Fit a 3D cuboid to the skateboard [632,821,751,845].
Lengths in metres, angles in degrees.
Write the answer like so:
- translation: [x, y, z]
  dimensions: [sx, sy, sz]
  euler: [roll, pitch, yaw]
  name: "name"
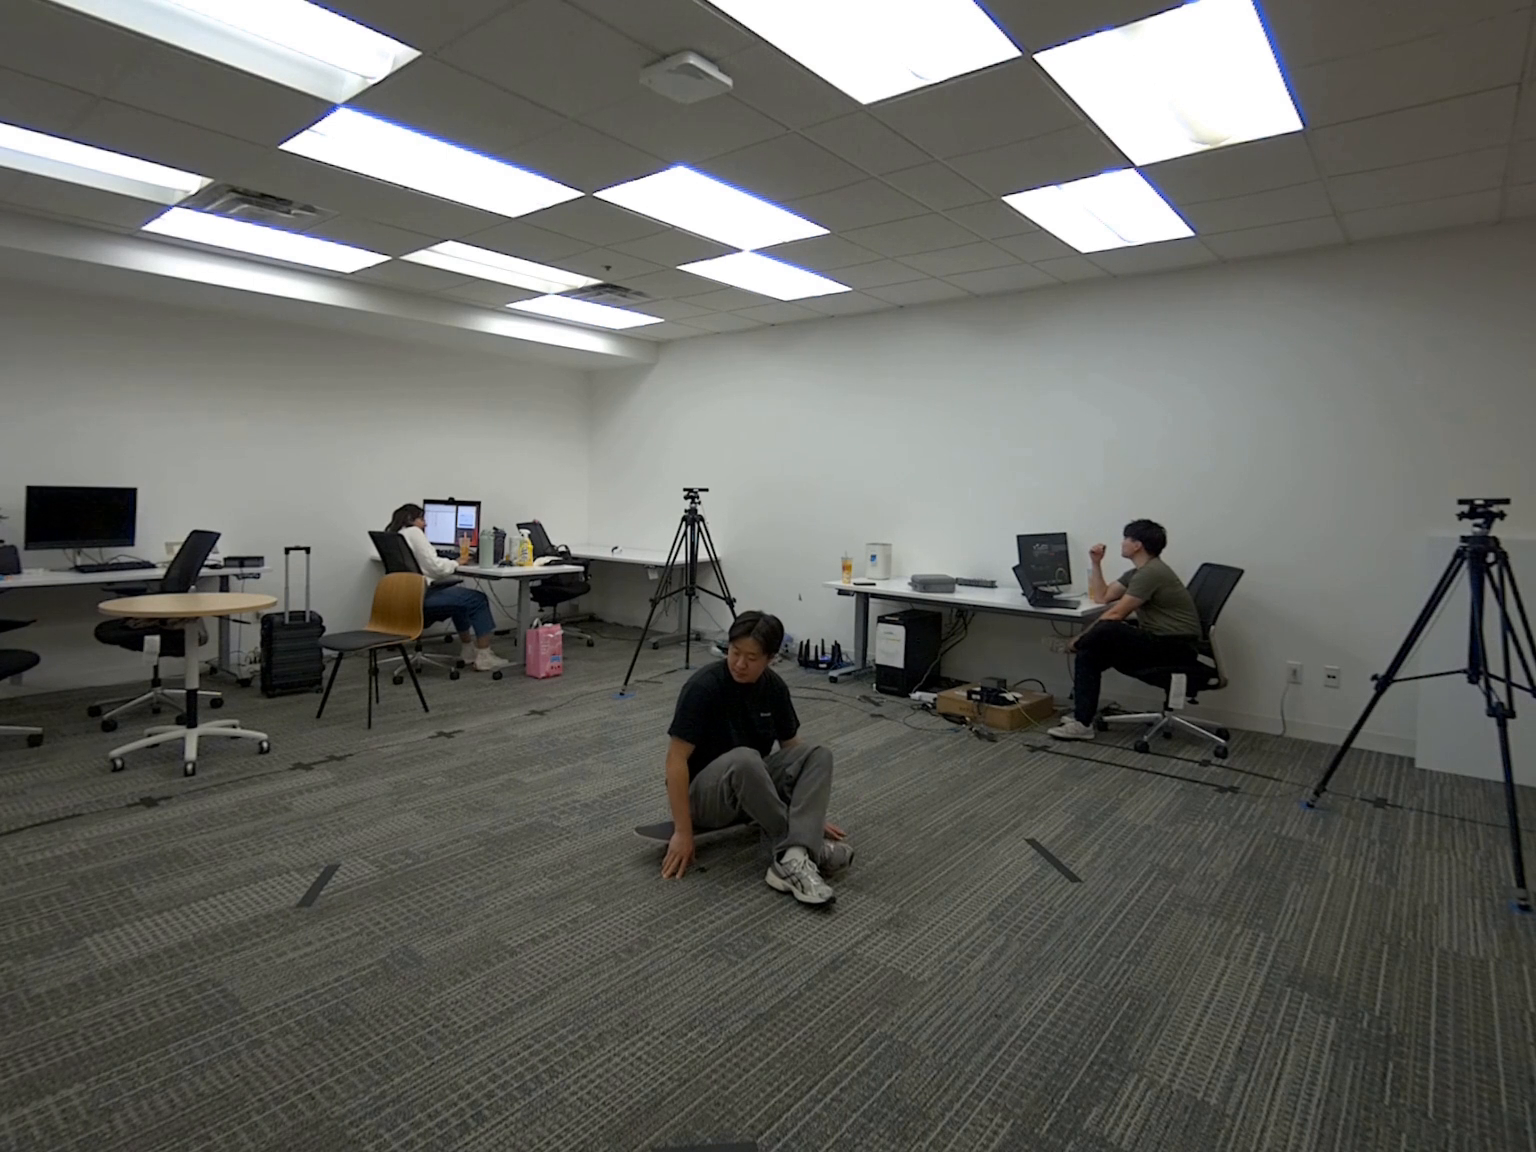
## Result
- translation: [-0.178, 0.990, 3.369]
  dimensions: [0.763, 0.110, 0.199]
  euler: [-3, 1, -36]
  name: "skateboard"
